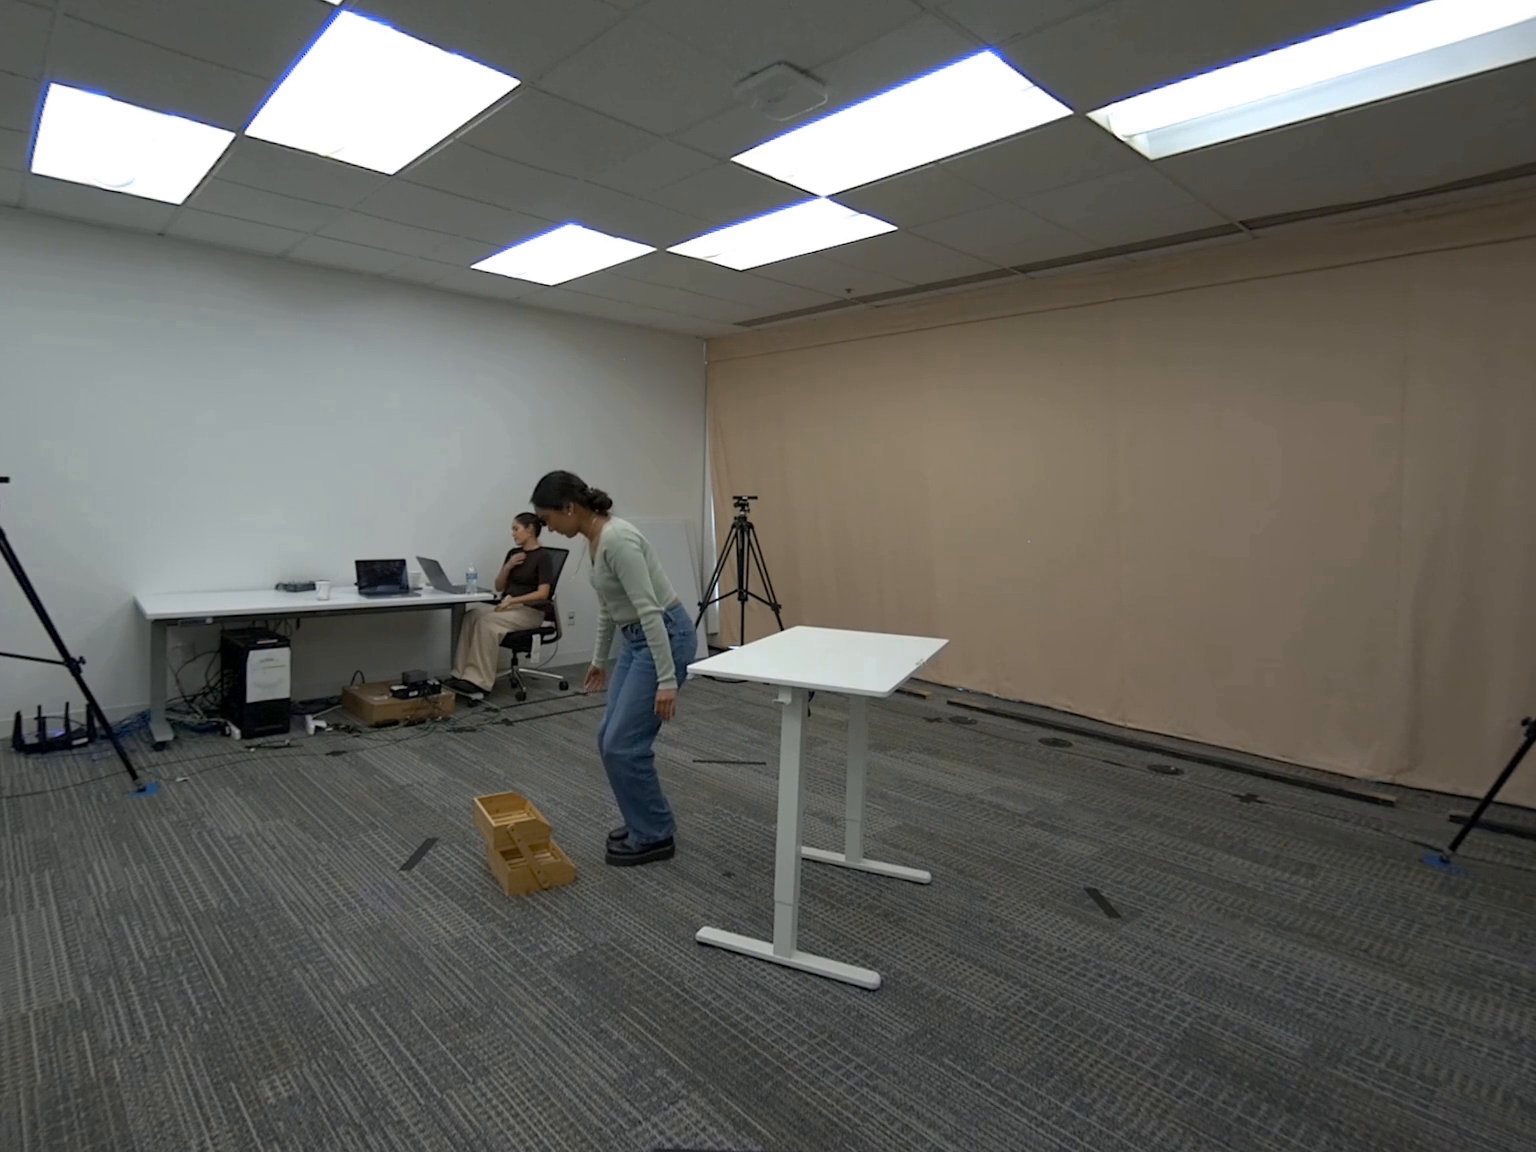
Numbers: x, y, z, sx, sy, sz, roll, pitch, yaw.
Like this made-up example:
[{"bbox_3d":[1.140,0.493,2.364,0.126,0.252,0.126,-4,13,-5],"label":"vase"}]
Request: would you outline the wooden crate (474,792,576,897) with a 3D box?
[{"bbox_3d":[-0.898,0.957,3.061,0.296,0.272,0.332,-2,6,-32],"label":"wooden crate"}]
